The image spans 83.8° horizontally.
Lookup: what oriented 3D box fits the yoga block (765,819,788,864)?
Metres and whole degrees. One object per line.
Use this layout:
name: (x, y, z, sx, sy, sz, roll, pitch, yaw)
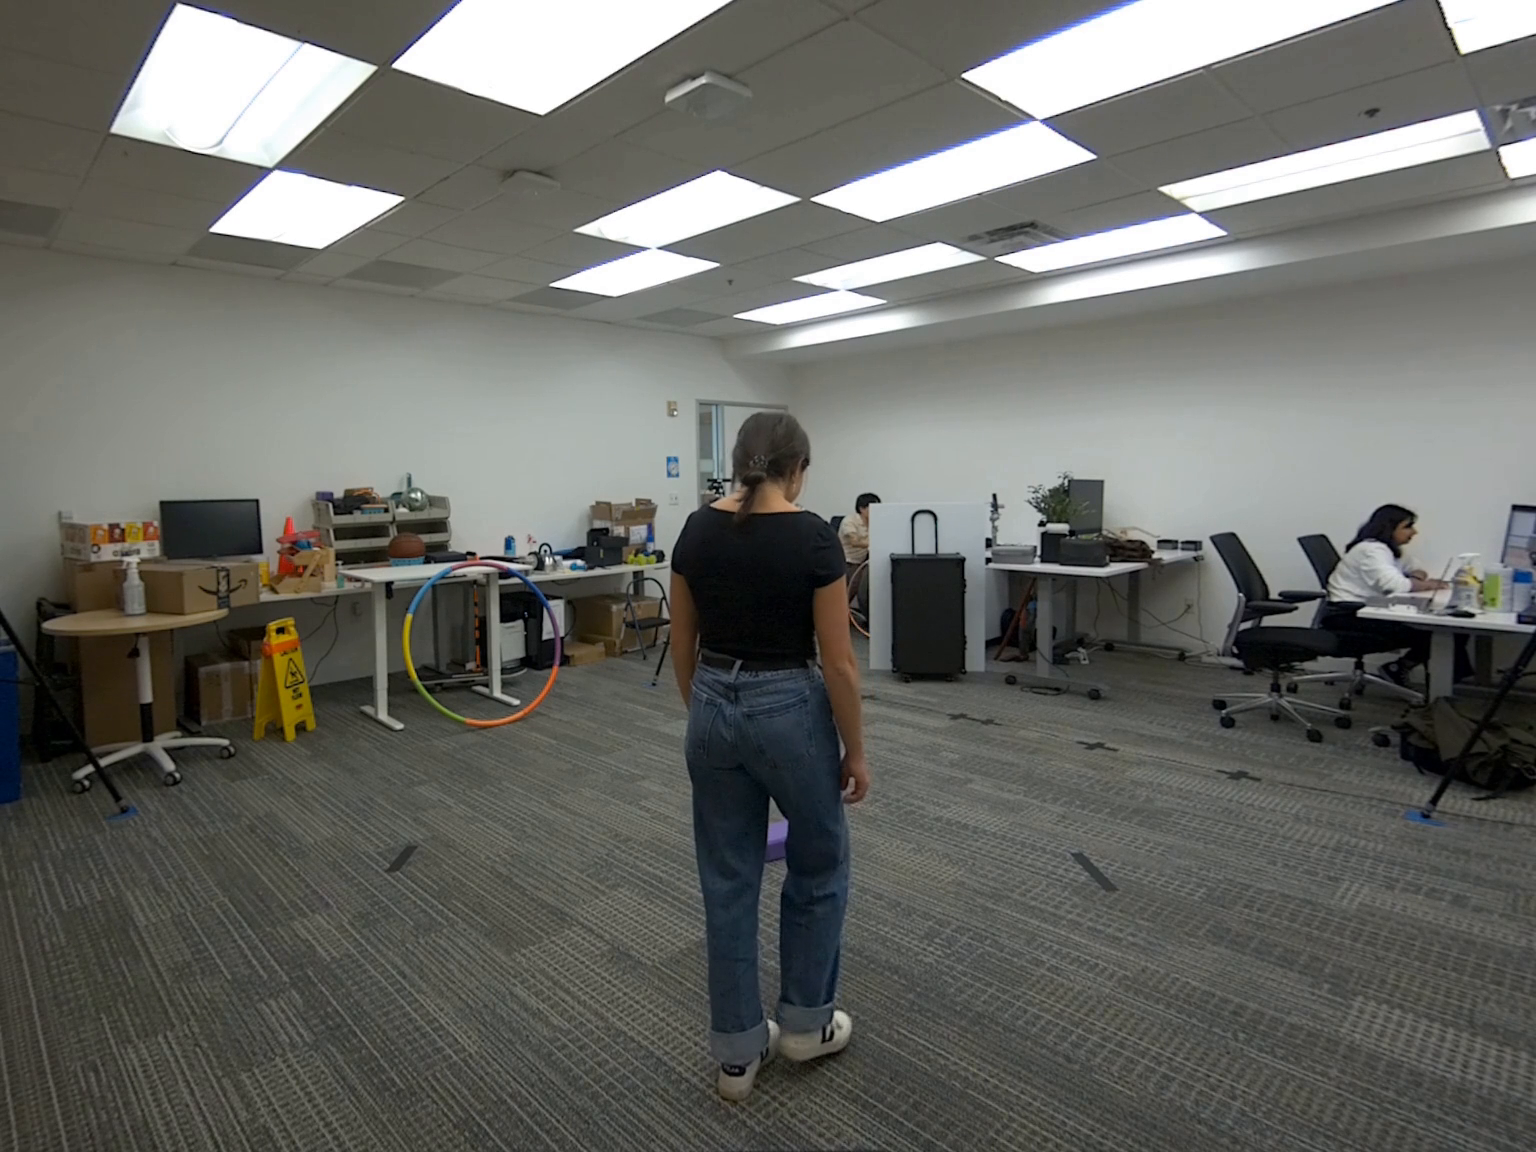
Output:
yoga block: (0.059, 0.994, 3.230, 0.224, 0.076, 0.153, -4, 6, -29)
